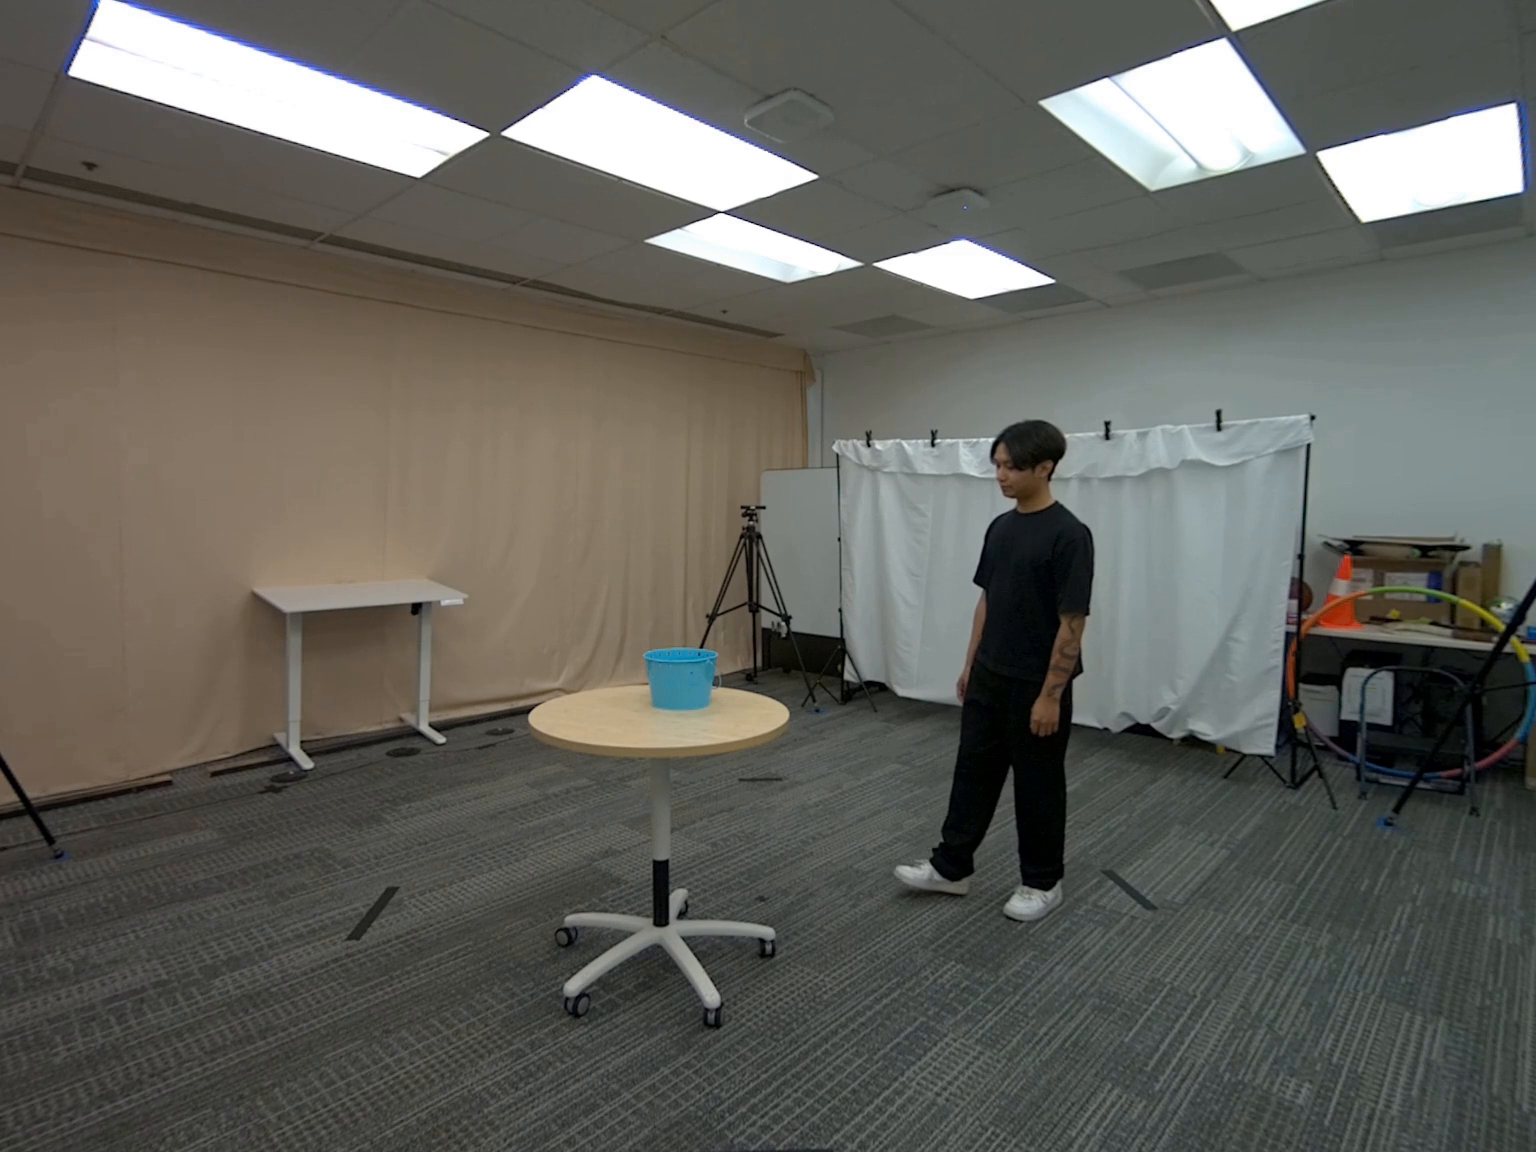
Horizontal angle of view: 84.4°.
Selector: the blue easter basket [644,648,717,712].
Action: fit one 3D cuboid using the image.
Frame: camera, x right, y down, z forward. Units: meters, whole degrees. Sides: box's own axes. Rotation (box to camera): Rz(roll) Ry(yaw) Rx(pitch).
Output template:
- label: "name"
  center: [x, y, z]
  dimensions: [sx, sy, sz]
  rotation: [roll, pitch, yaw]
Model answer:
- label: "blue easter basket"
  center: [-0.261, 0.325, 2.584]
  dimensions: [0.243, 0.155, 0.244]
  rotation: [0, 4, -2]
